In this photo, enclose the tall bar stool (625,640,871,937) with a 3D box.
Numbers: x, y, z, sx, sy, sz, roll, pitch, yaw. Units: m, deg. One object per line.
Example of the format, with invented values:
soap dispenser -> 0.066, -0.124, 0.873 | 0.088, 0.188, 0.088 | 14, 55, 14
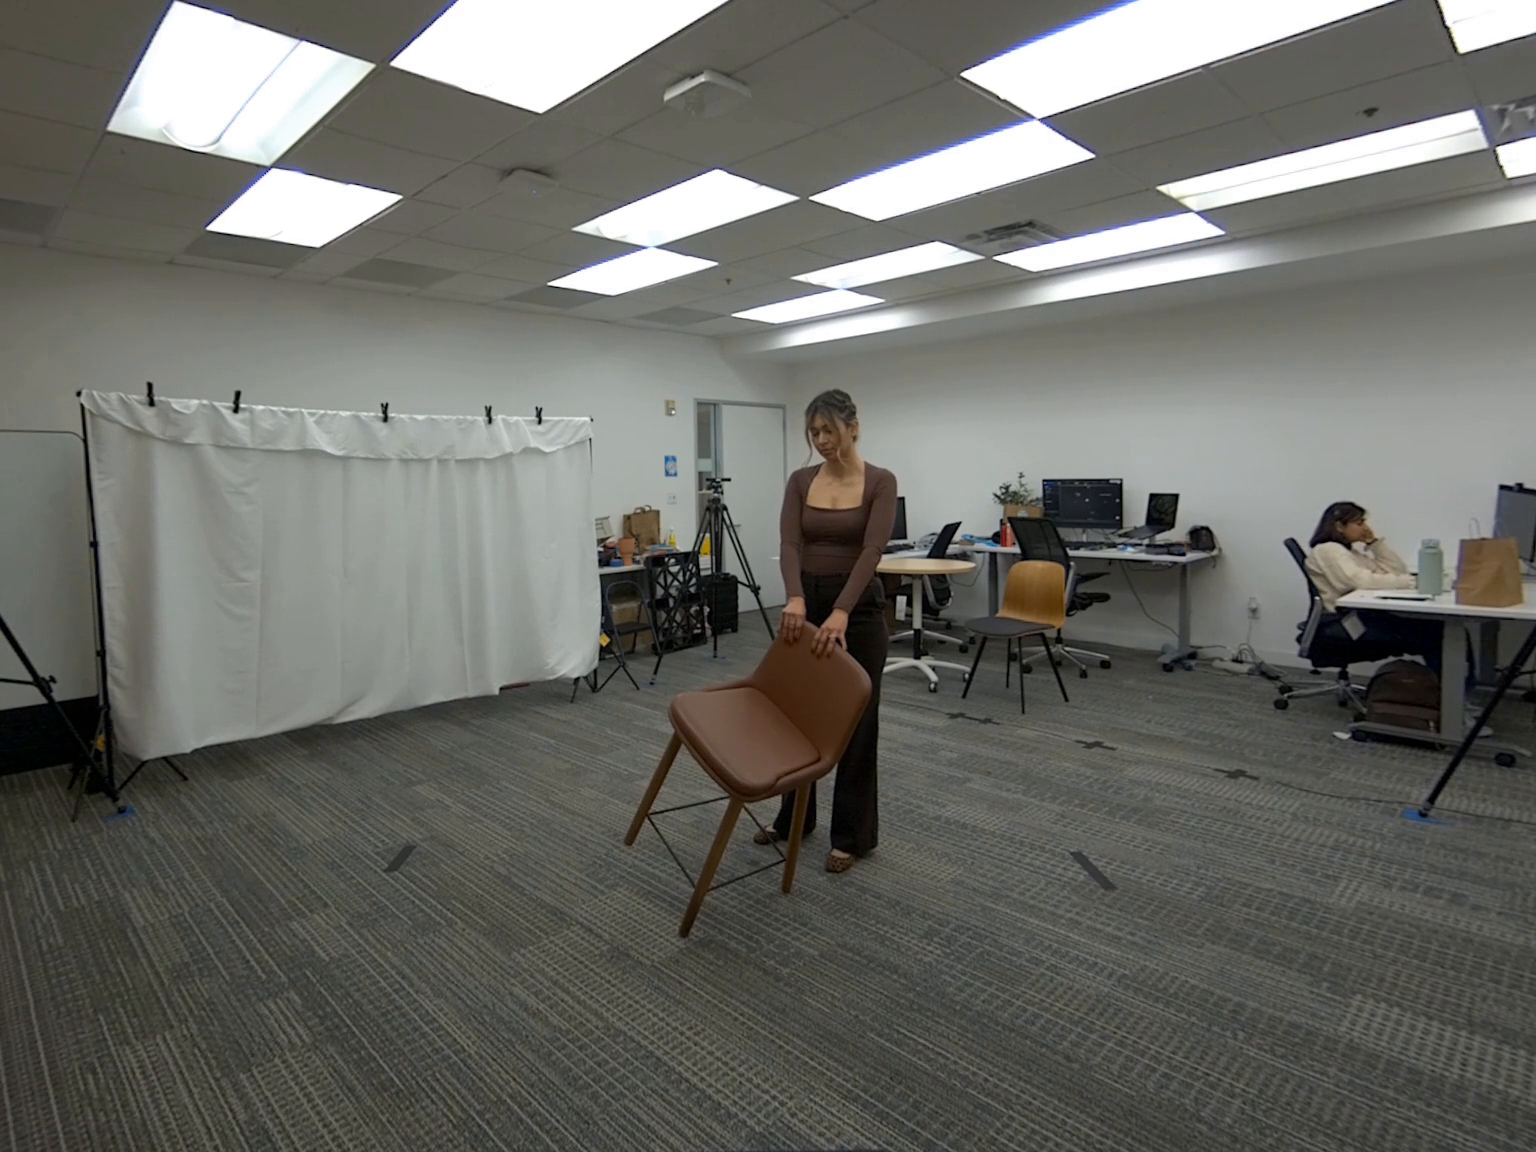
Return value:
tall bar stool -> -0.074, 0.616, 2.707 | 0.454, 0.879, 0.475 | 0, 30, -39
